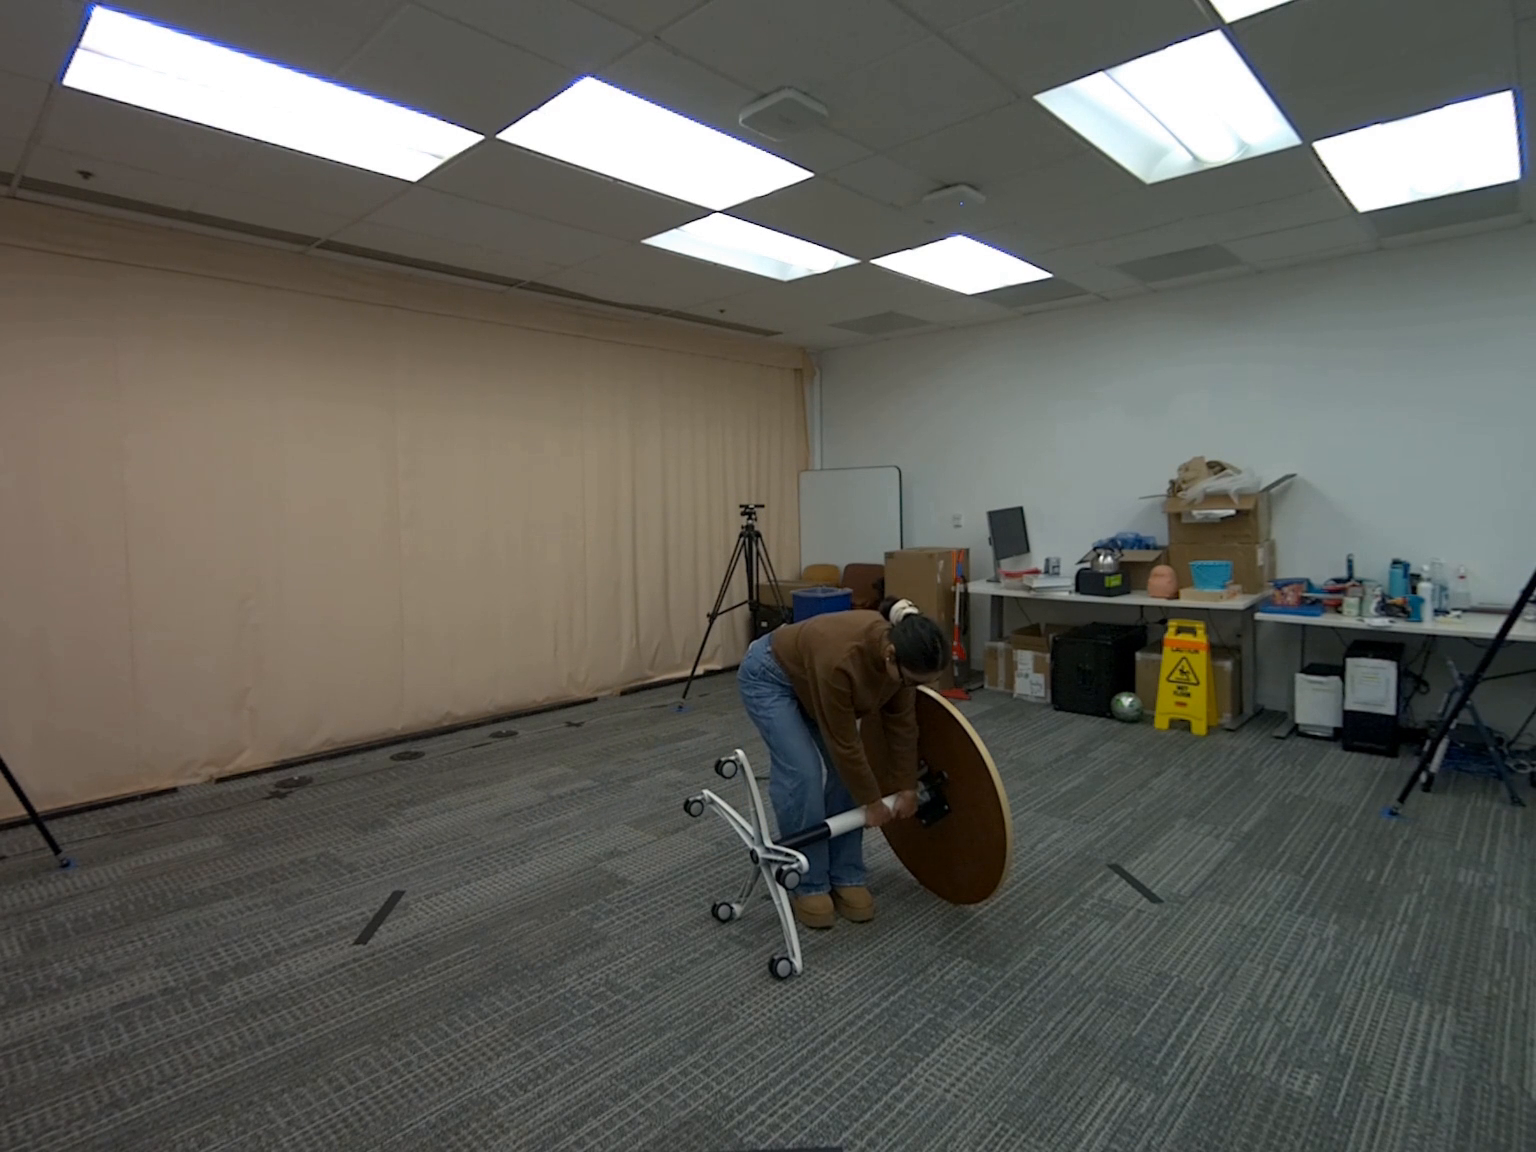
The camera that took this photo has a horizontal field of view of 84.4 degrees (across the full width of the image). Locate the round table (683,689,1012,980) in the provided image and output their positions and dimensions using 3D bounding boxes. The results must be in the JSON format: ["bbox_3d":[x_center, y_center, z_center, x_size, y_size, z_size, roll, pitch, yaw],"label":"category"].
[{"bbox_3d":[0.233,0.823,2.770,0.776,0.760,0.785,-12,8,-27],"label":"round table"}]
